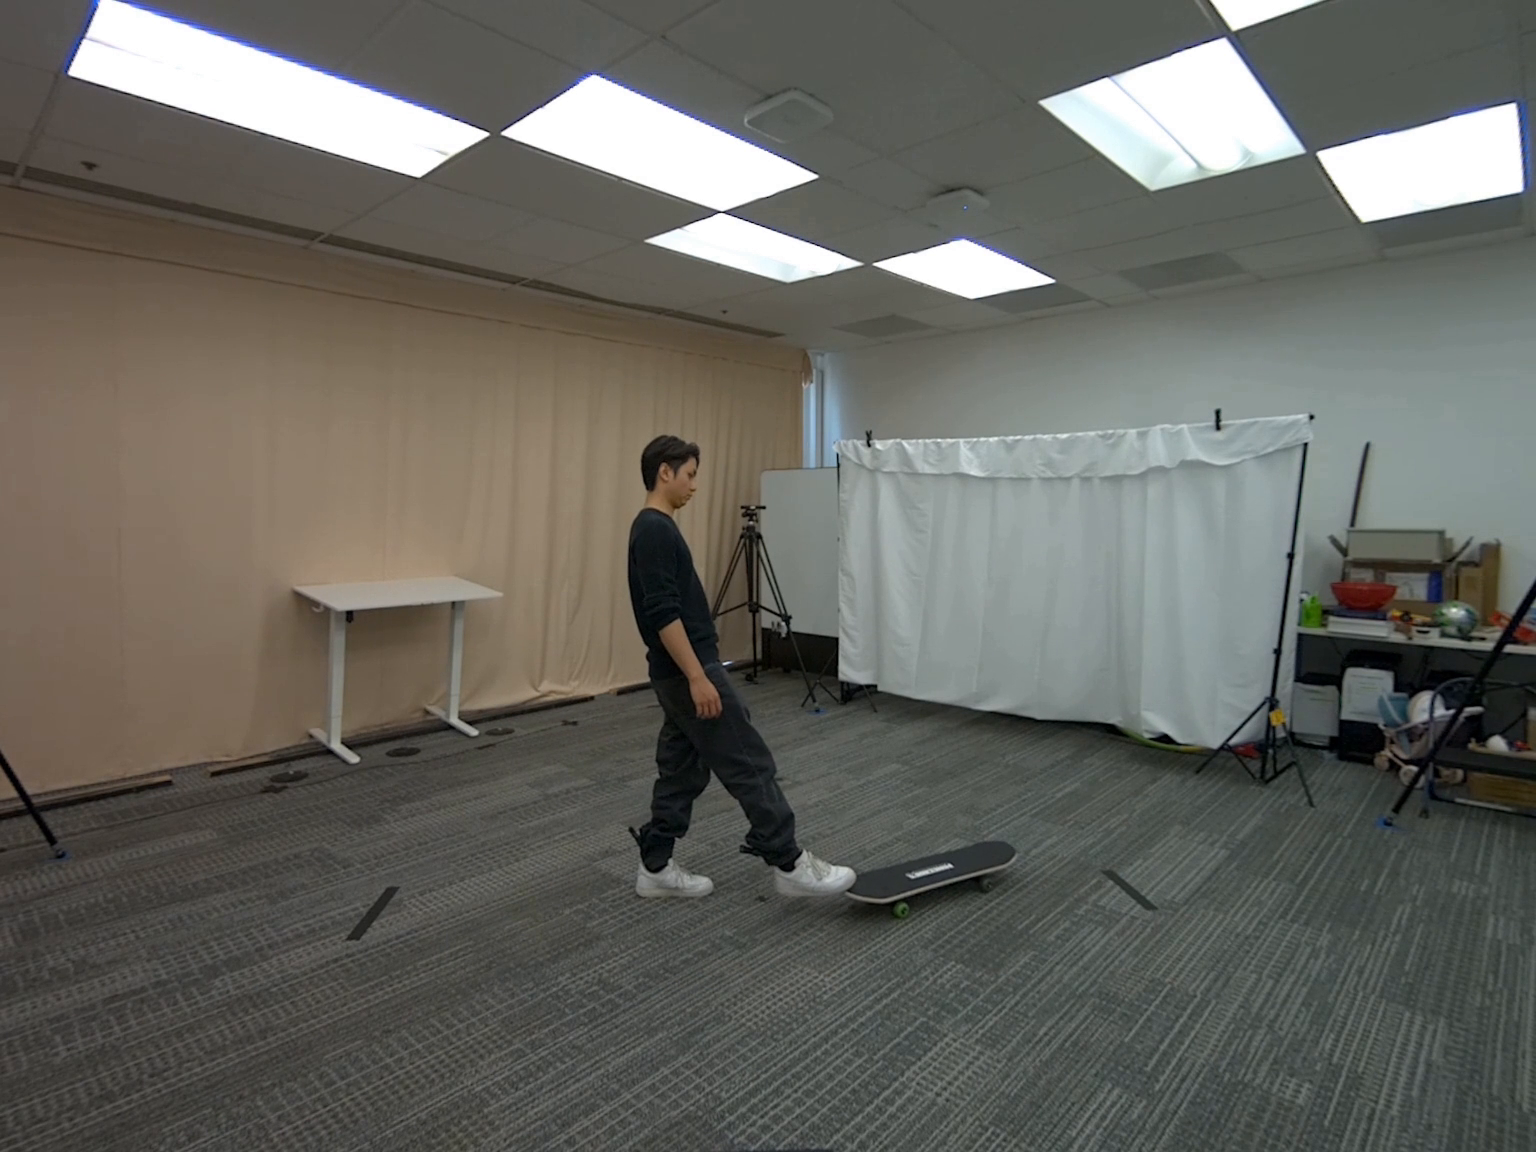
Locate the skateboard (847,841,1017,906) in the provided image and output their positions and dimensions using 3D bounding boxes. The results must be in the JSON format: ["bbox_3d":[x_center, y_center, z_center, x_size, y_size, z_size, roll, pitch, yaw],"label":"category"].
[{"bbox_3d":[0.580,1.086,3.001,0.765,0.110,0.199,-3,6,-29],"label":"skateboard"}]
